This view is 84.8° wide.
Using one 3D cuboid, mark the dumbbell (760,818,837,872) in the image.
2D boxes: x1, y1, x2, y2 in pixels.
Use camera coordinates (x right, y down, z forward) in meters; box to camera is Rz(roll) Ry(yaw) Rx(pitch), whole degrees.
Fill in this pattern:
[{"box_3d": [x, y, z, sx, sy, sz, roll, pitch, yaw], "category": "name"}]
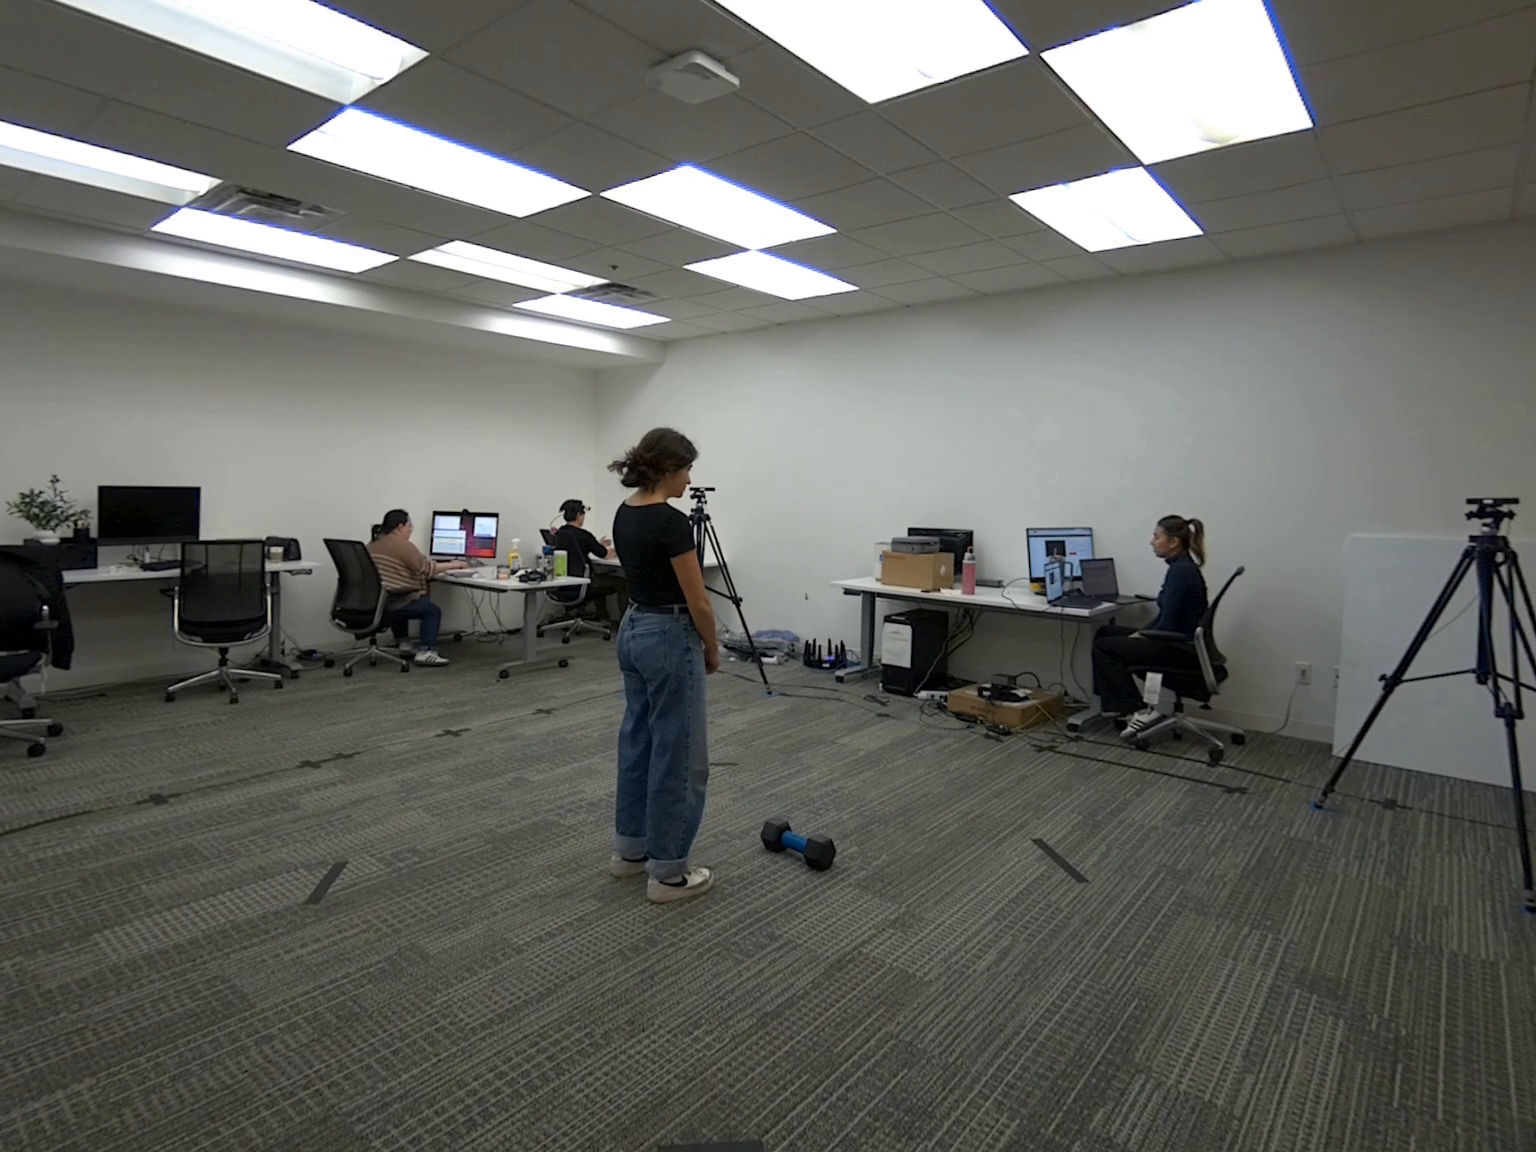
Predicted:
[{"box_3d": [0.105, 1.009, 3.219, 0.304, 0.124, 0.104, 6, -24, 44], "category": "dumbbell"}]
